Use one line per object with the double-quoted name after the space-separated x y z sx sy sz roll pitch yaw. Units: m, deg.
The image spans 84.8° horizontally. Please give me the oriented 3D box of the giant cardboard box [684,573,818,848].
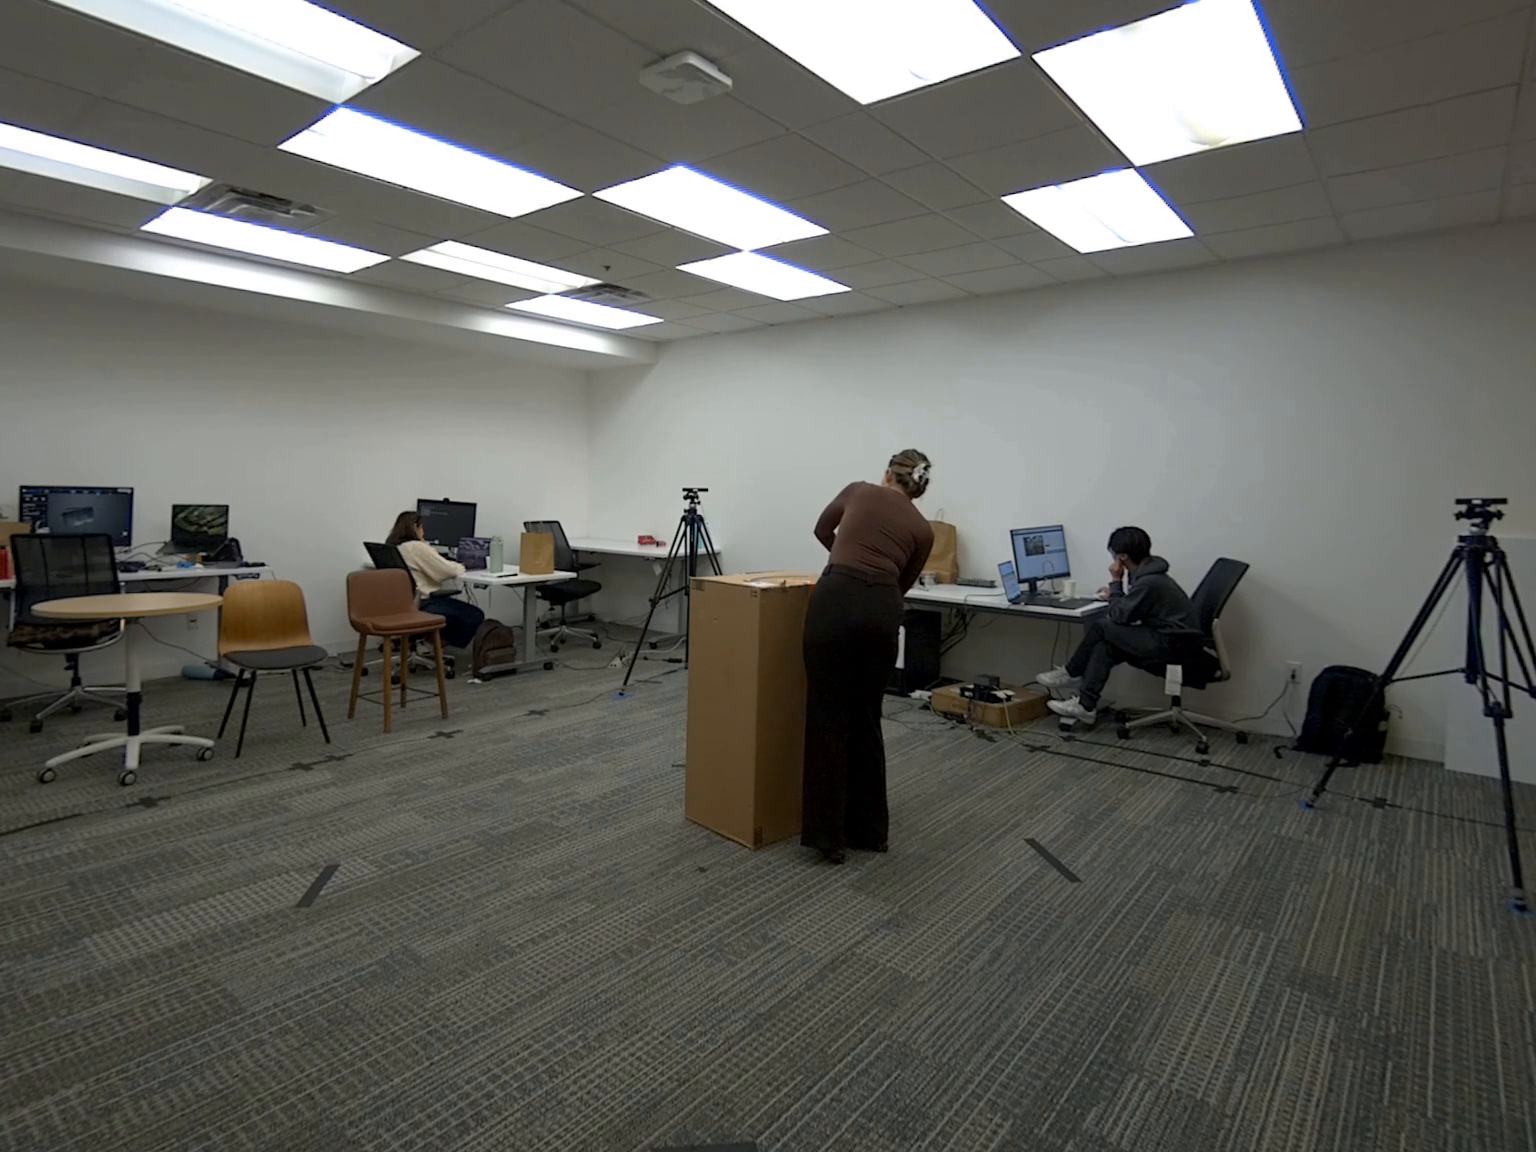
-0.003 0.515 3.604 0.566 1.023 0.462 -2 5 -43 "giant cardboard box"
